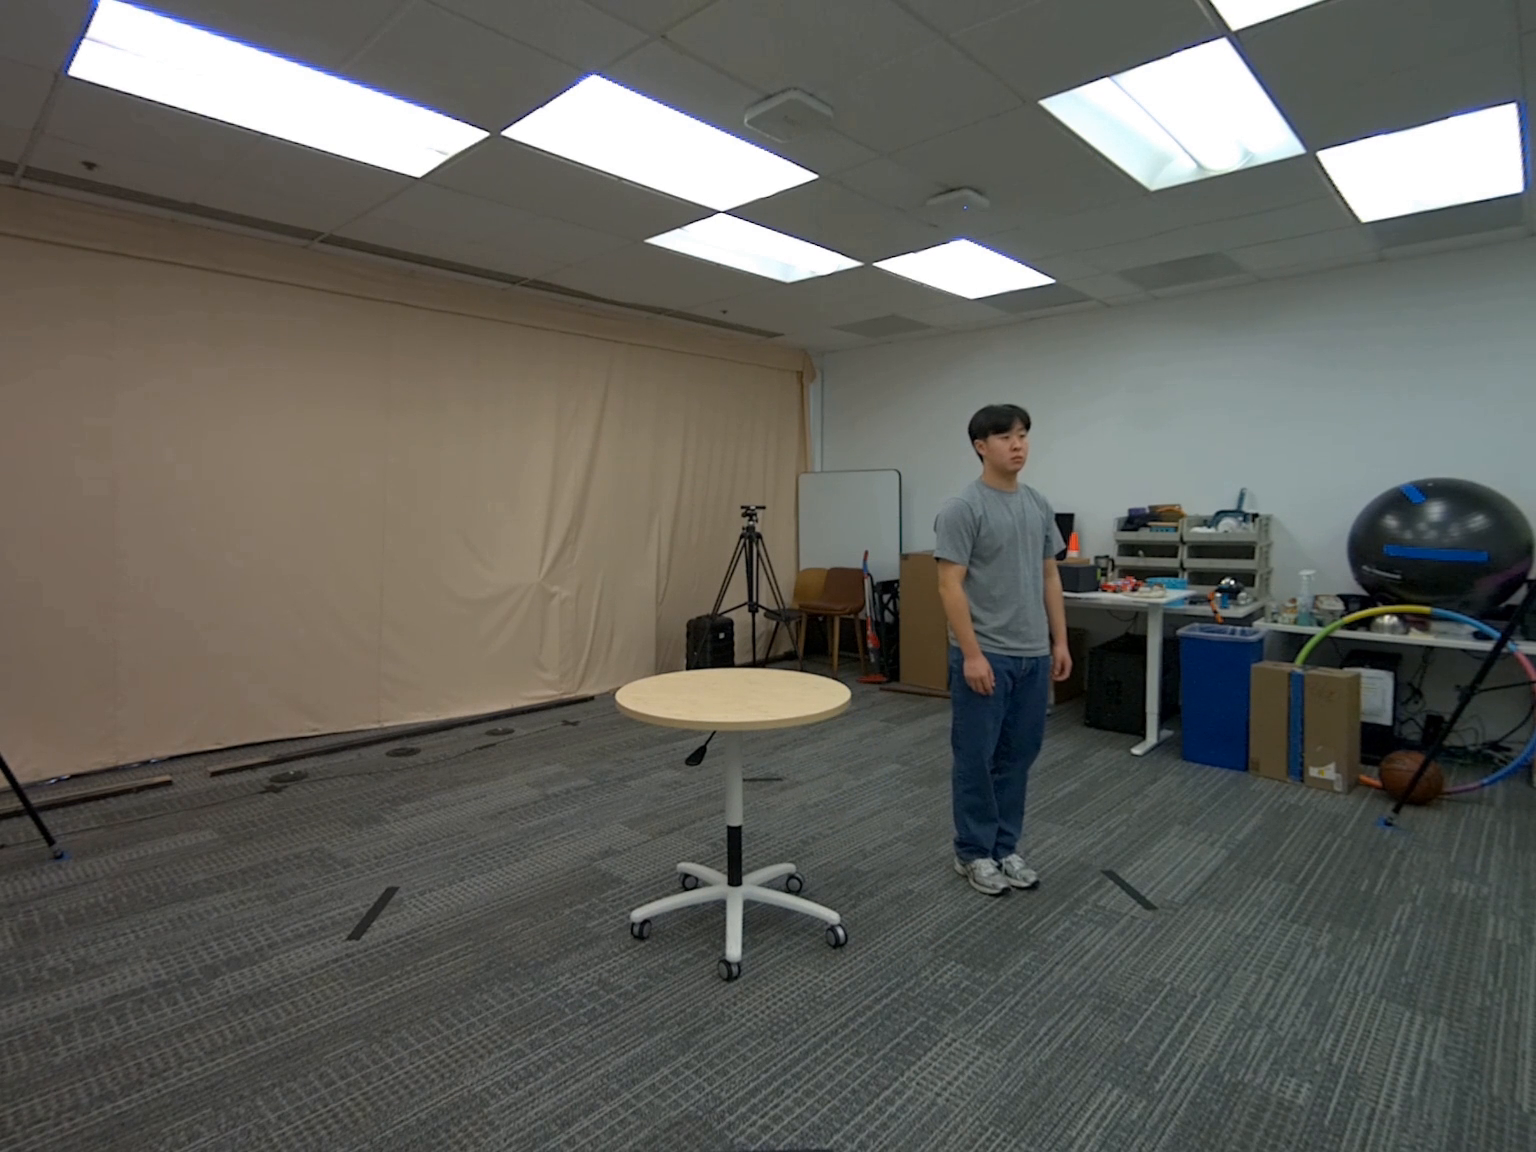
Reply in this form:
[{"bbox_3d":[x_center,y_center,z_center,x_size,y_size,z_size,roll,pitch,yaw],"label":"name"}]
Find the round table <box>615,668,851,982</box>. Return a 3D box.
[{"bbox_3d":[-0.110,0.773,2.777,0.763,0.792,0.767,0,4,-2],"label":"round table"}]
